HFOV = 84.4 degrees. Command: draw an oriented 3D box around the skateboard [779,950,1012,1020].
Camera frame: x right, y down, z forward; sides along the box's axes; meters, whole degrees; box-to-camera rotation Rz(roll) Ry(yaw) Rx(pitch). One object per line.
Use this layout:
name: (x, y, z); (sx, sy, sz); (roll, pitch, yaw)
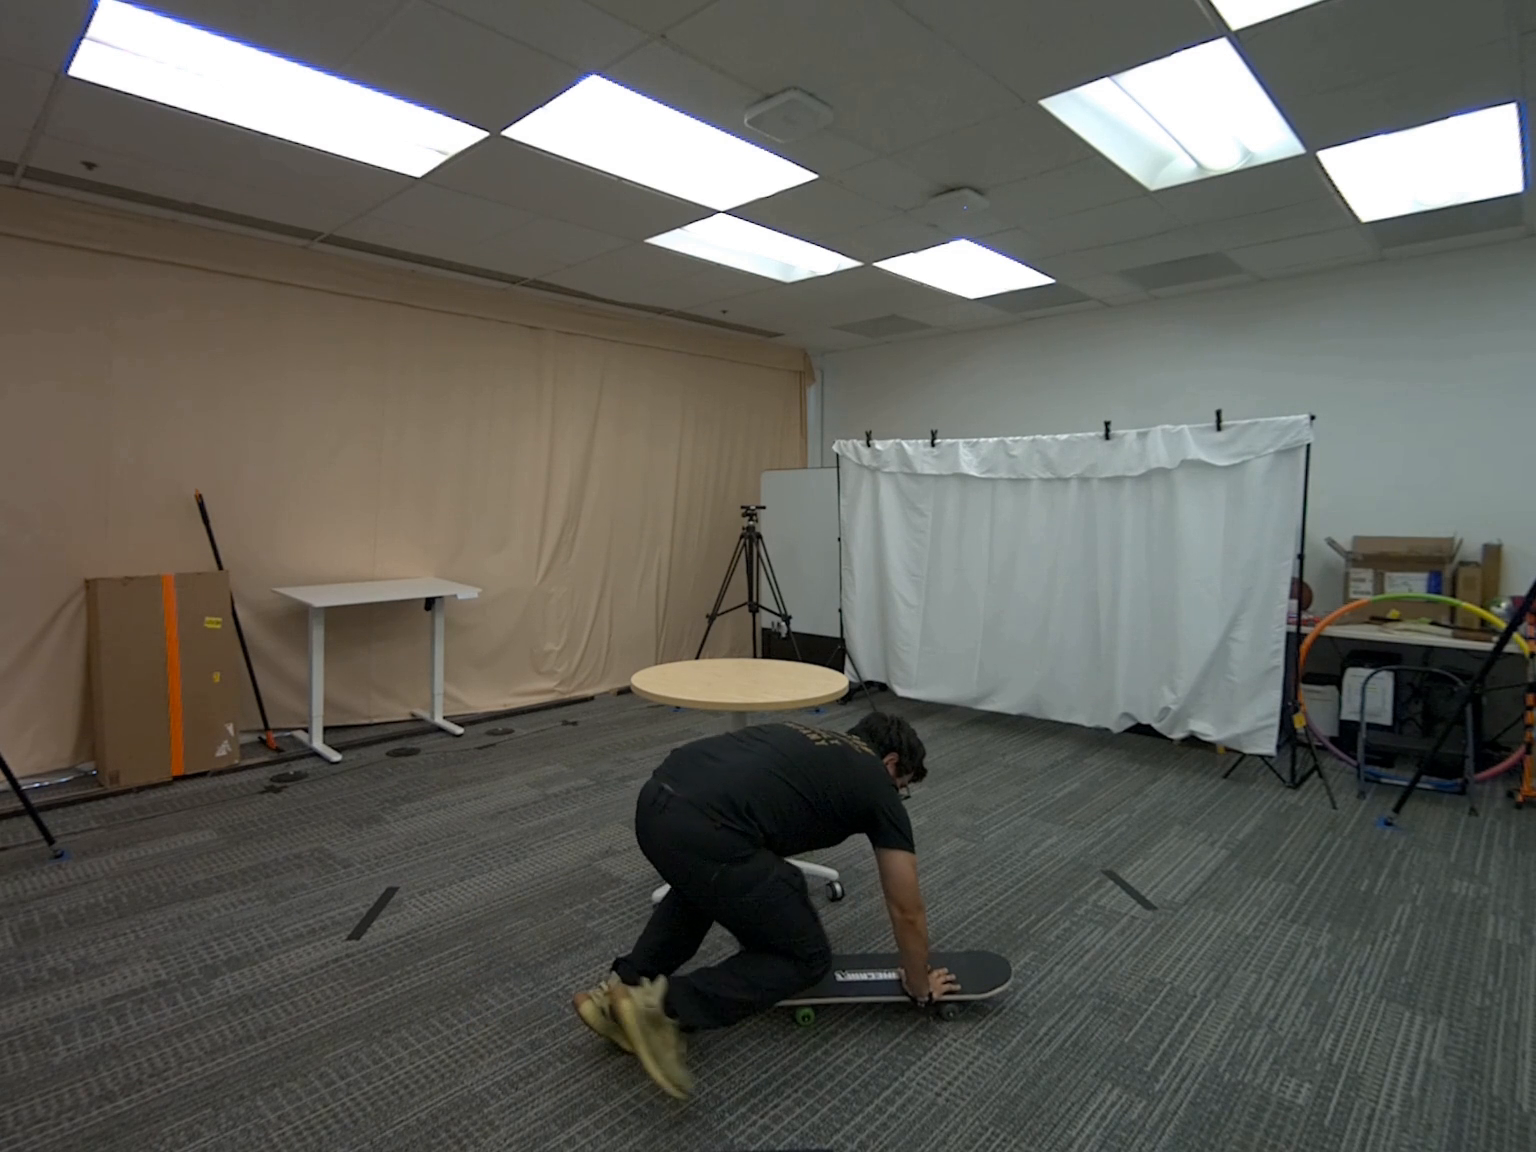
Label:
skateboard: (0.295, 1.141, 2.346); (0.782, 0.110, 0.195); (-1, 9, -4)
